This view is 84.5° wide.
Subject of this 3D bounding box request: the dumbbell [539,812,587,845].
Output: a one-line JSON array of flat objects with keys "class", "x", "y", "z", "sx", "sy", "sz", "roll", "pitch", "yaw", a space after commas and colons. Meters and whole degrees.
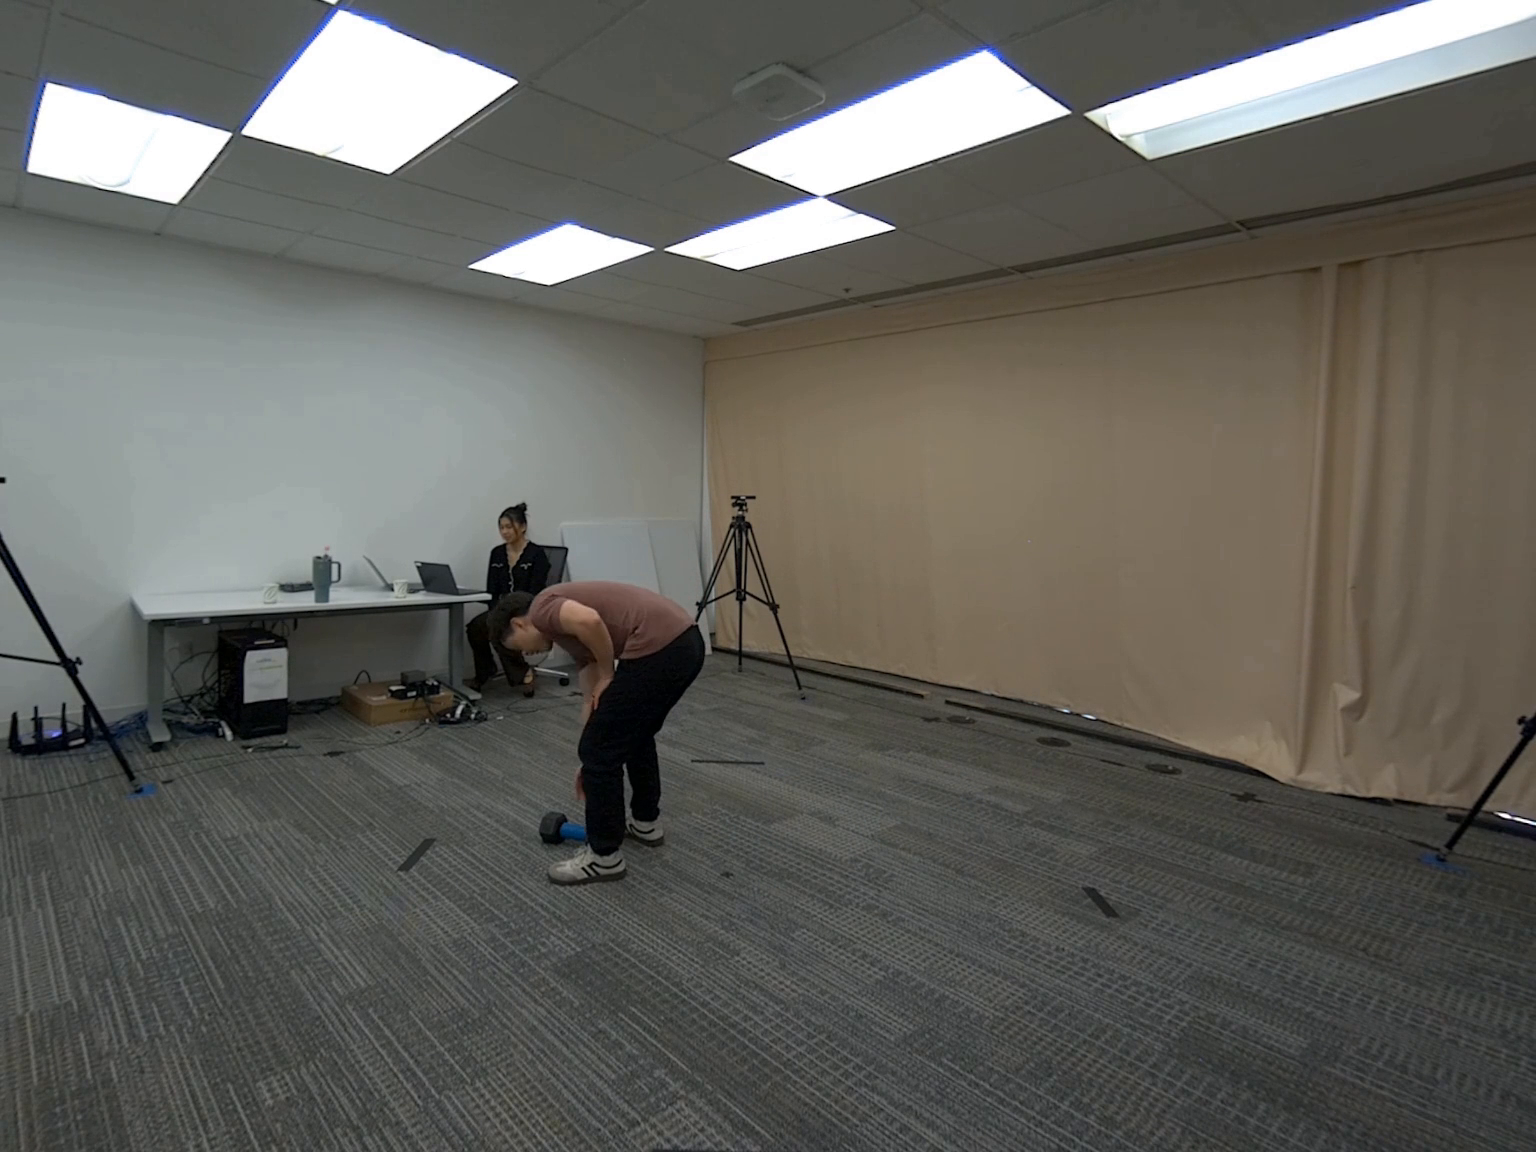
[{"class": "dumbbell", "x": -0.764, "y": 1.017, "z": 3.327, "sx": 0.298, "sy": 0.124, "sz": 0.106, "roll": 4, "pitch": -25, "yaw": 20}]
